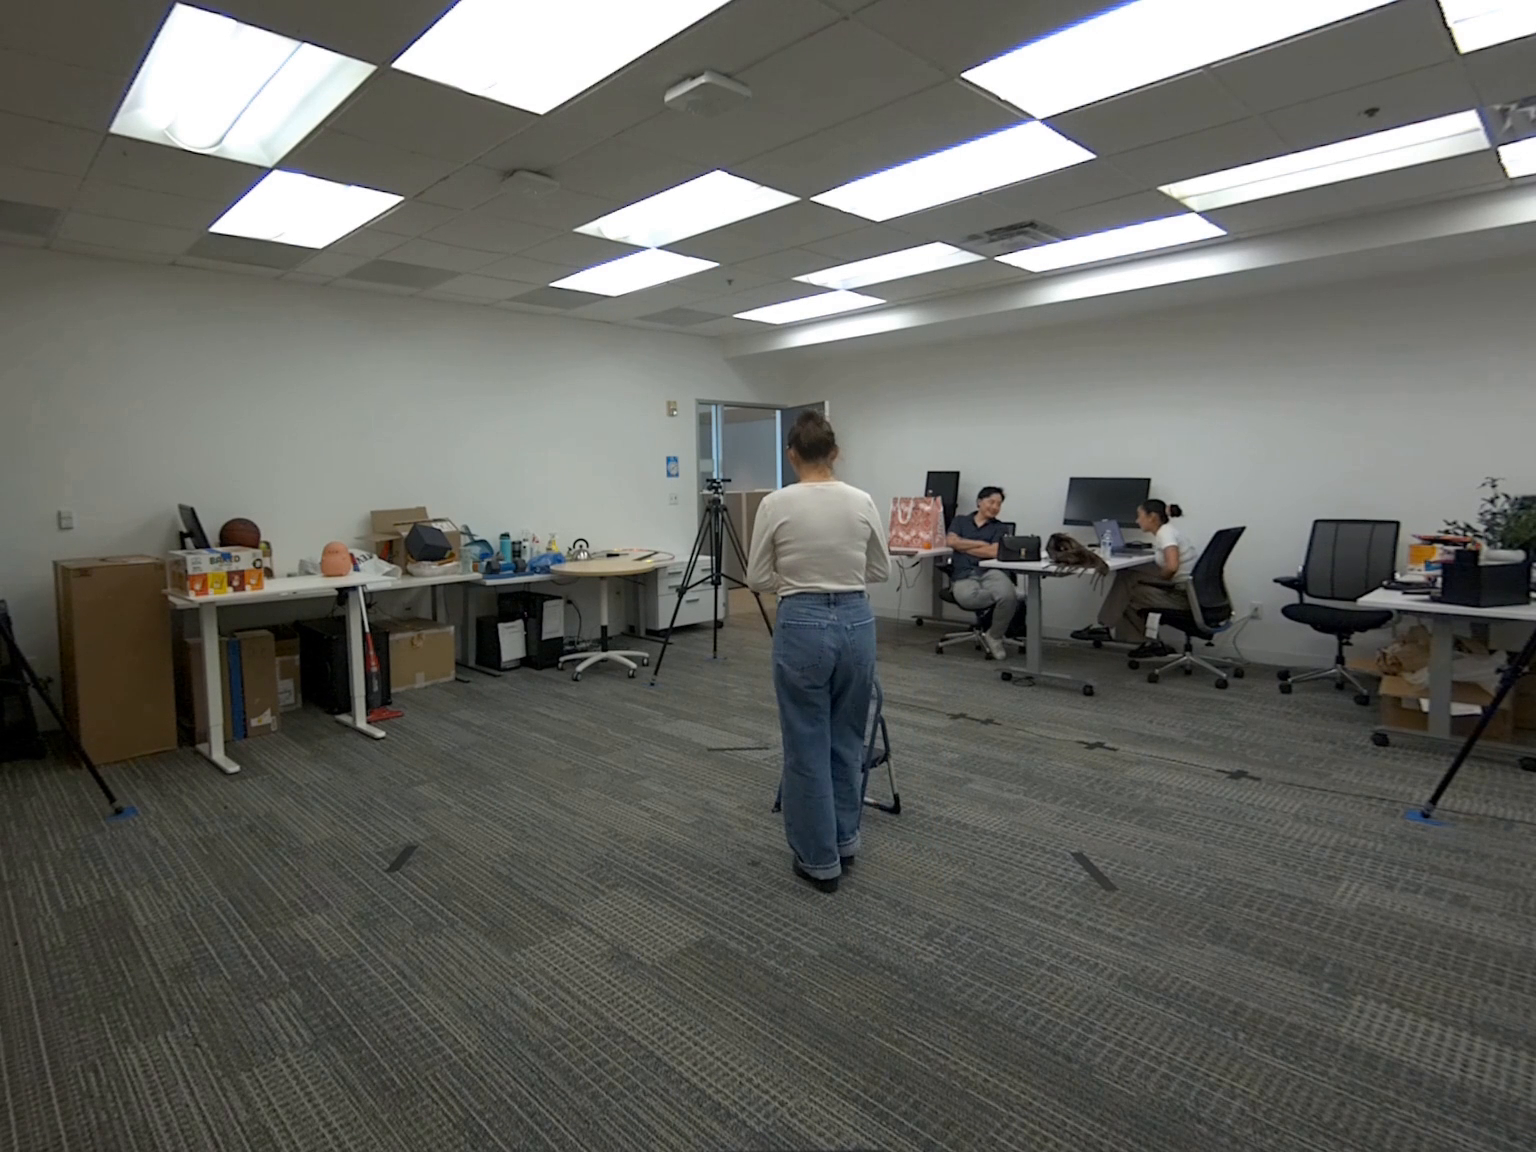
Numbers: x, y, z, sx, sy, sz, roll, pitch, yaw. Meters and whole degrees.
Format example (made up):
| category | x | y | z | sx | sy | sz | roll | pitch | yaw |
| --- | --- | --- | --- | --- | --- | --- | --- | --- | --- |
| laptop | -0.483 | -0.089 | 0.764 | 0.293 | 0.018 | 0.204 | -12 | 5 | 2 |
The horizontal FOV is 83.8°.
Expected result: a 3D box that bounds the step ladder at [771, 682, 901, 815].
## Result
| category | x | y | z | sx | sy | sz | roll | pitch | yaw |
| --- | --- | --- | --- | --- | --- | --- | --- | --- | --- |
| step ladder | 0.289 | 0.686 | 3.554 | 0.444 | 0.604 | 0.340 | 4 | 6 | 42 |
